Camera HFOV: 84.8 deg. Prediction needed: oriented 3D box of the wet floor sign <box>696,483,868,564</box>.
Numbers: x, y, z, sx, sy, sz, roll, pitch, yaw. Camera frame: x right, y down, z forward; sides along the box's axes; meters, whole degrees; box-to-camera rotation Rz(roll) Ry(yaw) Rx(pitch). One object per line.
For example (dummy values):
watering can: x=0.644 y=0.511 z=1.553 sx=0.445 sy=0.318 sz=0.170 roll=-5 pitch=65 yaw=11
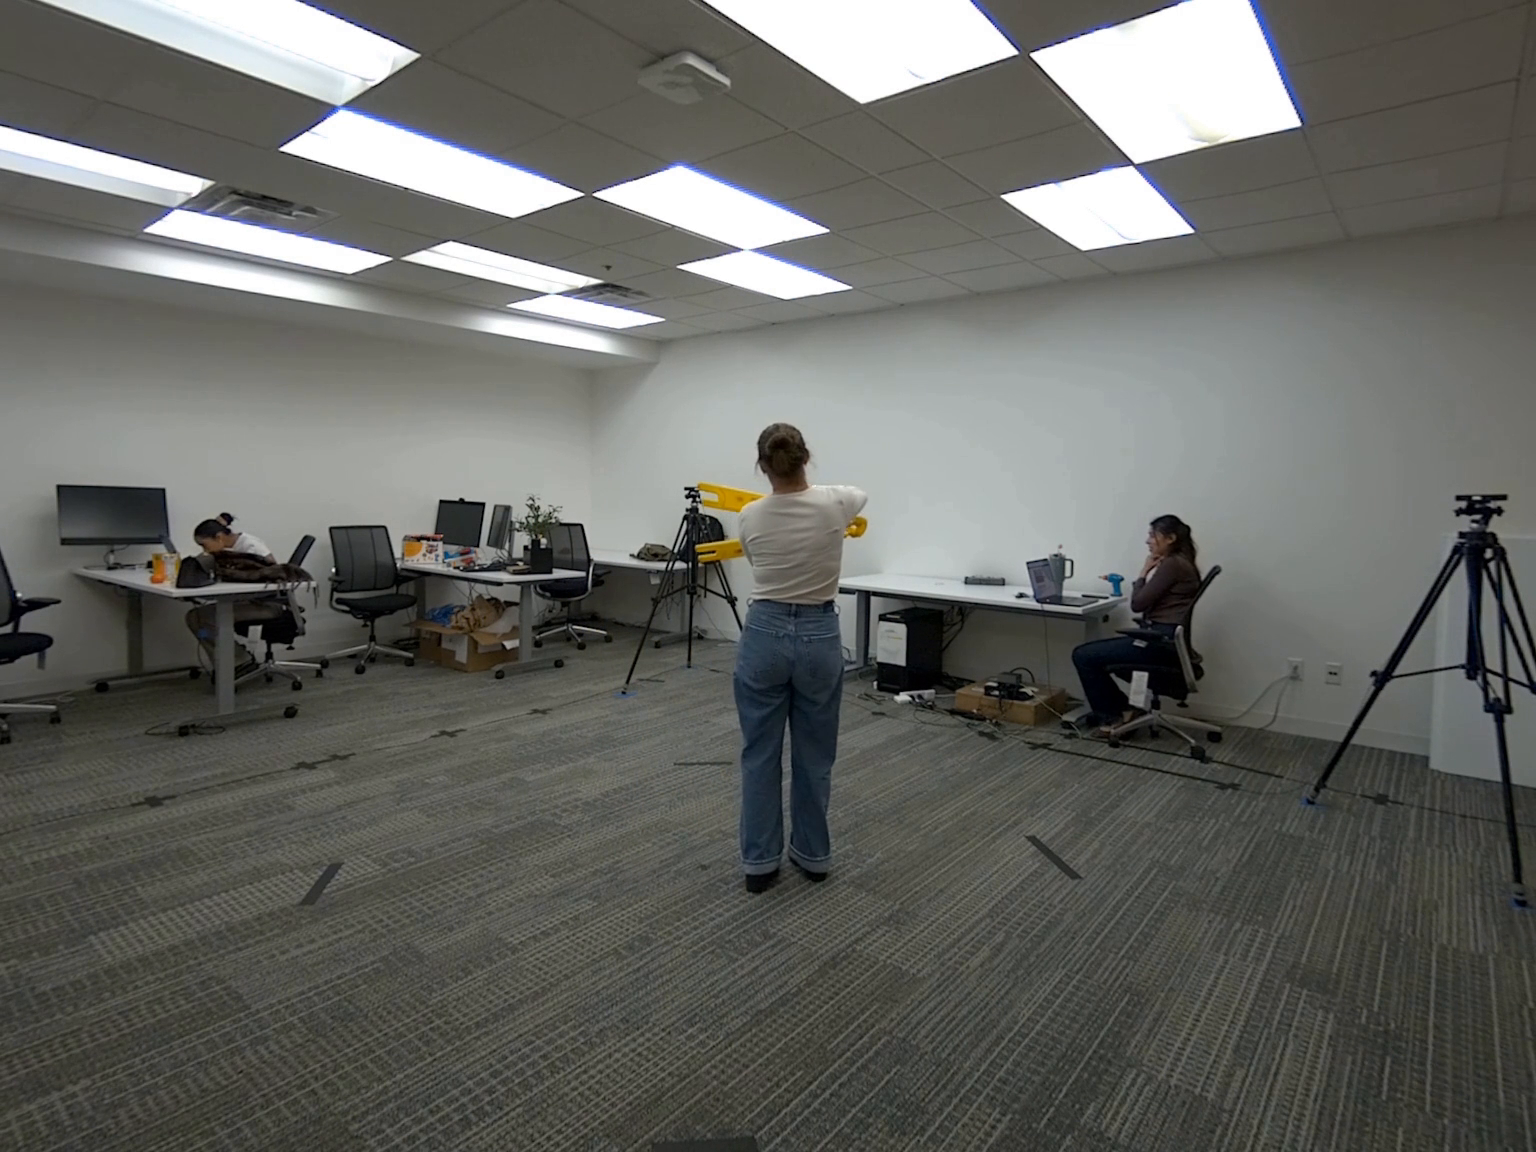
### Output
wet floor sign: x=0.050 y=-0.196 z=3.307 sx=0.648 sy=0.294 sz=0.277 roll=0 pitch=-14 yaw=3
